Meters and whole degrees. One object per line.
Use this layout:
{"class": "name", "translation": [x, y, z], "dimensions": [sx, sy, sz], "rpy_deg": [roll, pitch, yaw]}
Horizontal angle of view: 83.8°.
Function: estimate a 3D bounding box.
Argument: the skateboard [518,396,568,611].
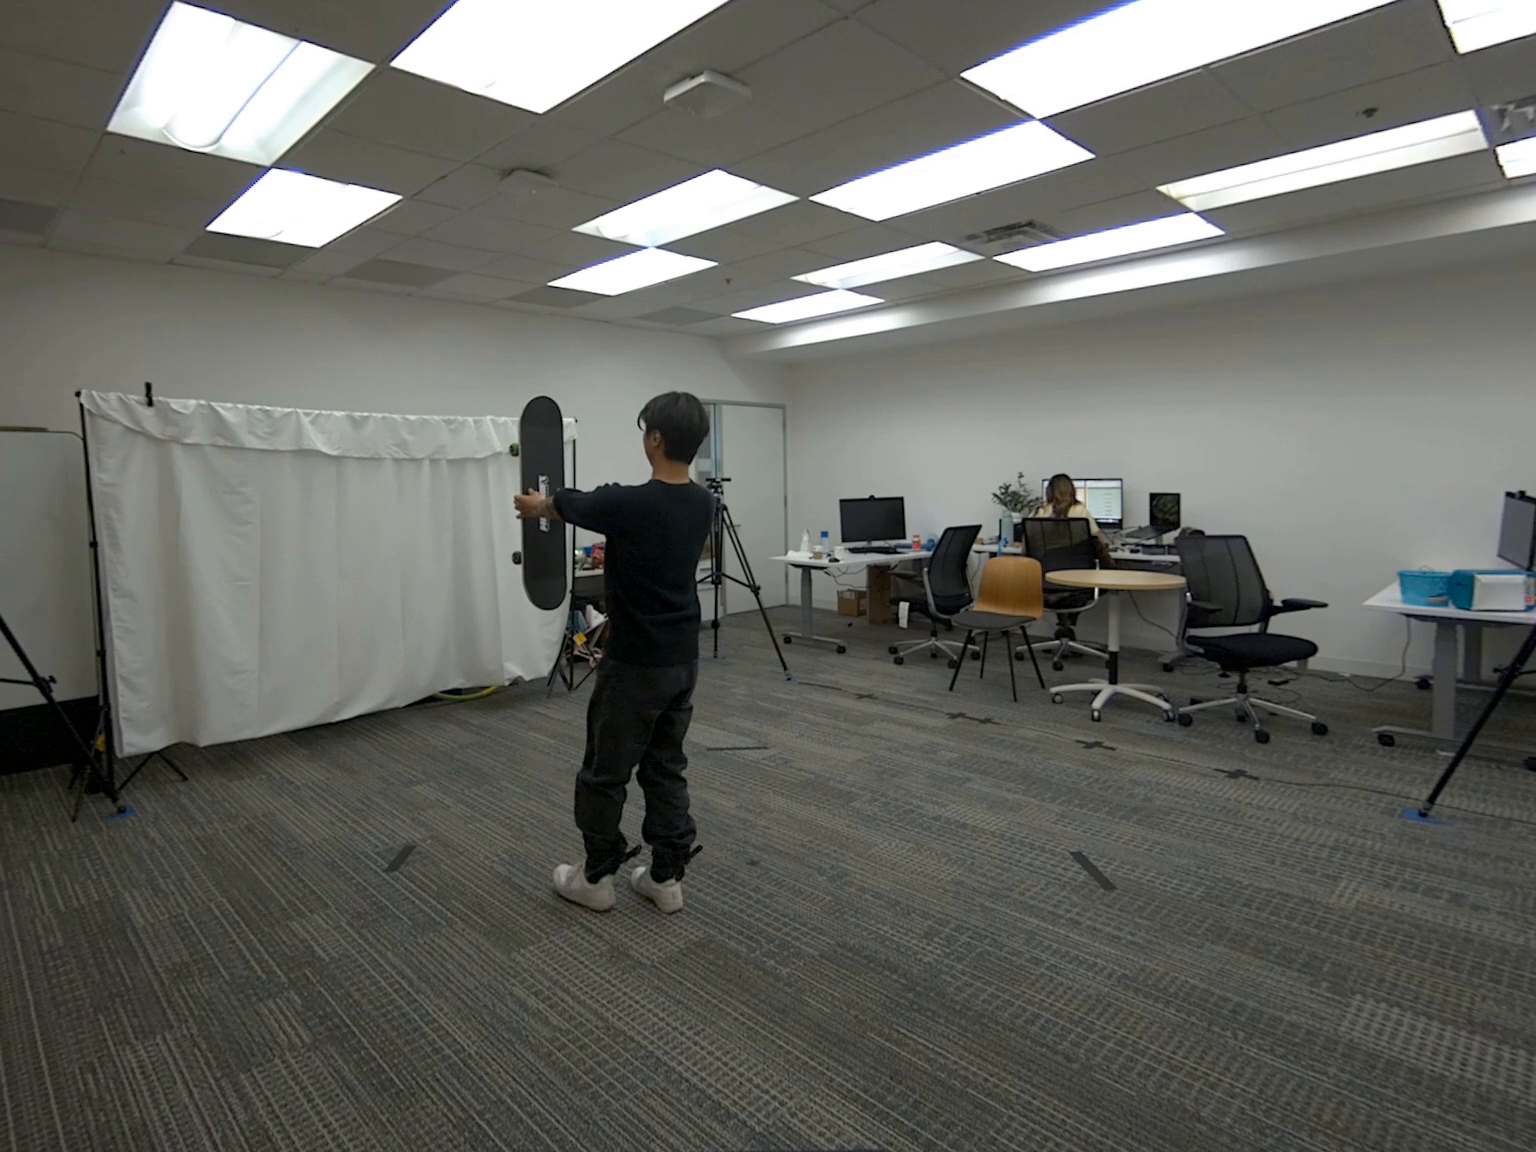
{"class": "skateboard", "translation": [-0.847, -0.266, 3.173], "dimensions": [0.113, 0.785, 0.188], "rpy_deg": [-3, 0, 43]}
